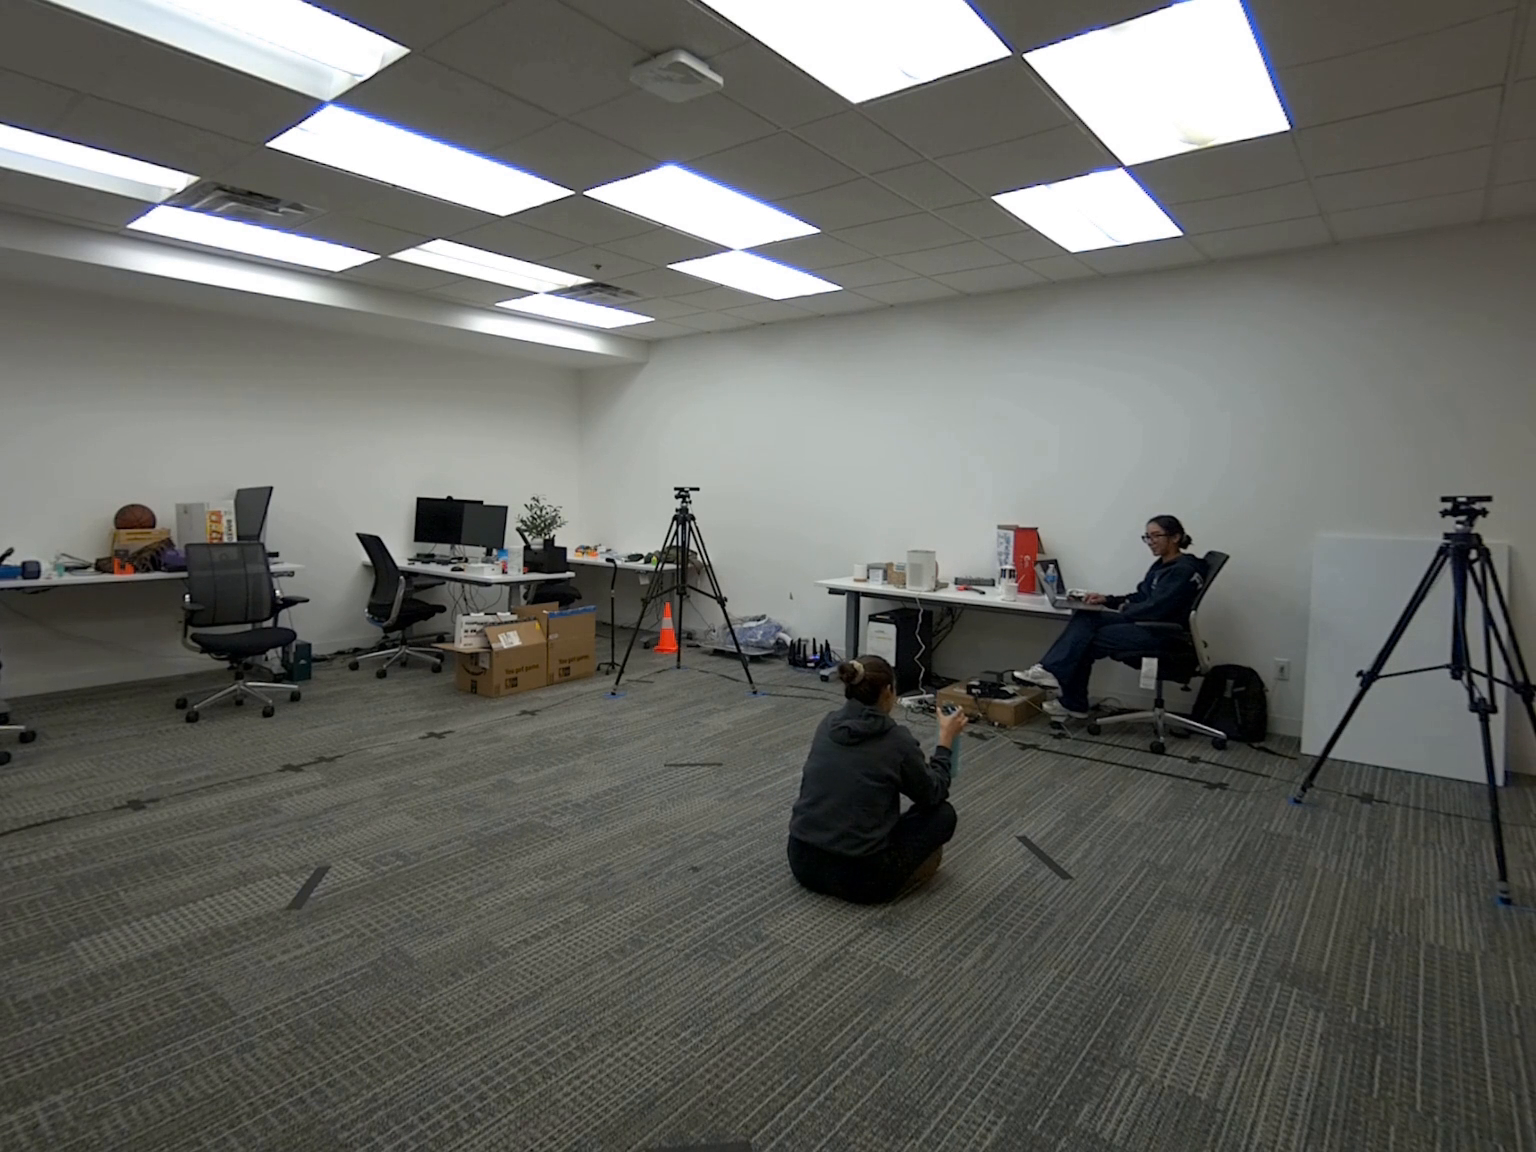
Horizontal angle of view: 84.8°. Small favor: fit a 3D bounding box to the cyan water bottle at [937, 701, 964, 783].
[{"bbox_3d":[0.678,0.618,3.248,0.092,0.282,0.093,4,6,-2],"label":"cyan water bottle"}]
